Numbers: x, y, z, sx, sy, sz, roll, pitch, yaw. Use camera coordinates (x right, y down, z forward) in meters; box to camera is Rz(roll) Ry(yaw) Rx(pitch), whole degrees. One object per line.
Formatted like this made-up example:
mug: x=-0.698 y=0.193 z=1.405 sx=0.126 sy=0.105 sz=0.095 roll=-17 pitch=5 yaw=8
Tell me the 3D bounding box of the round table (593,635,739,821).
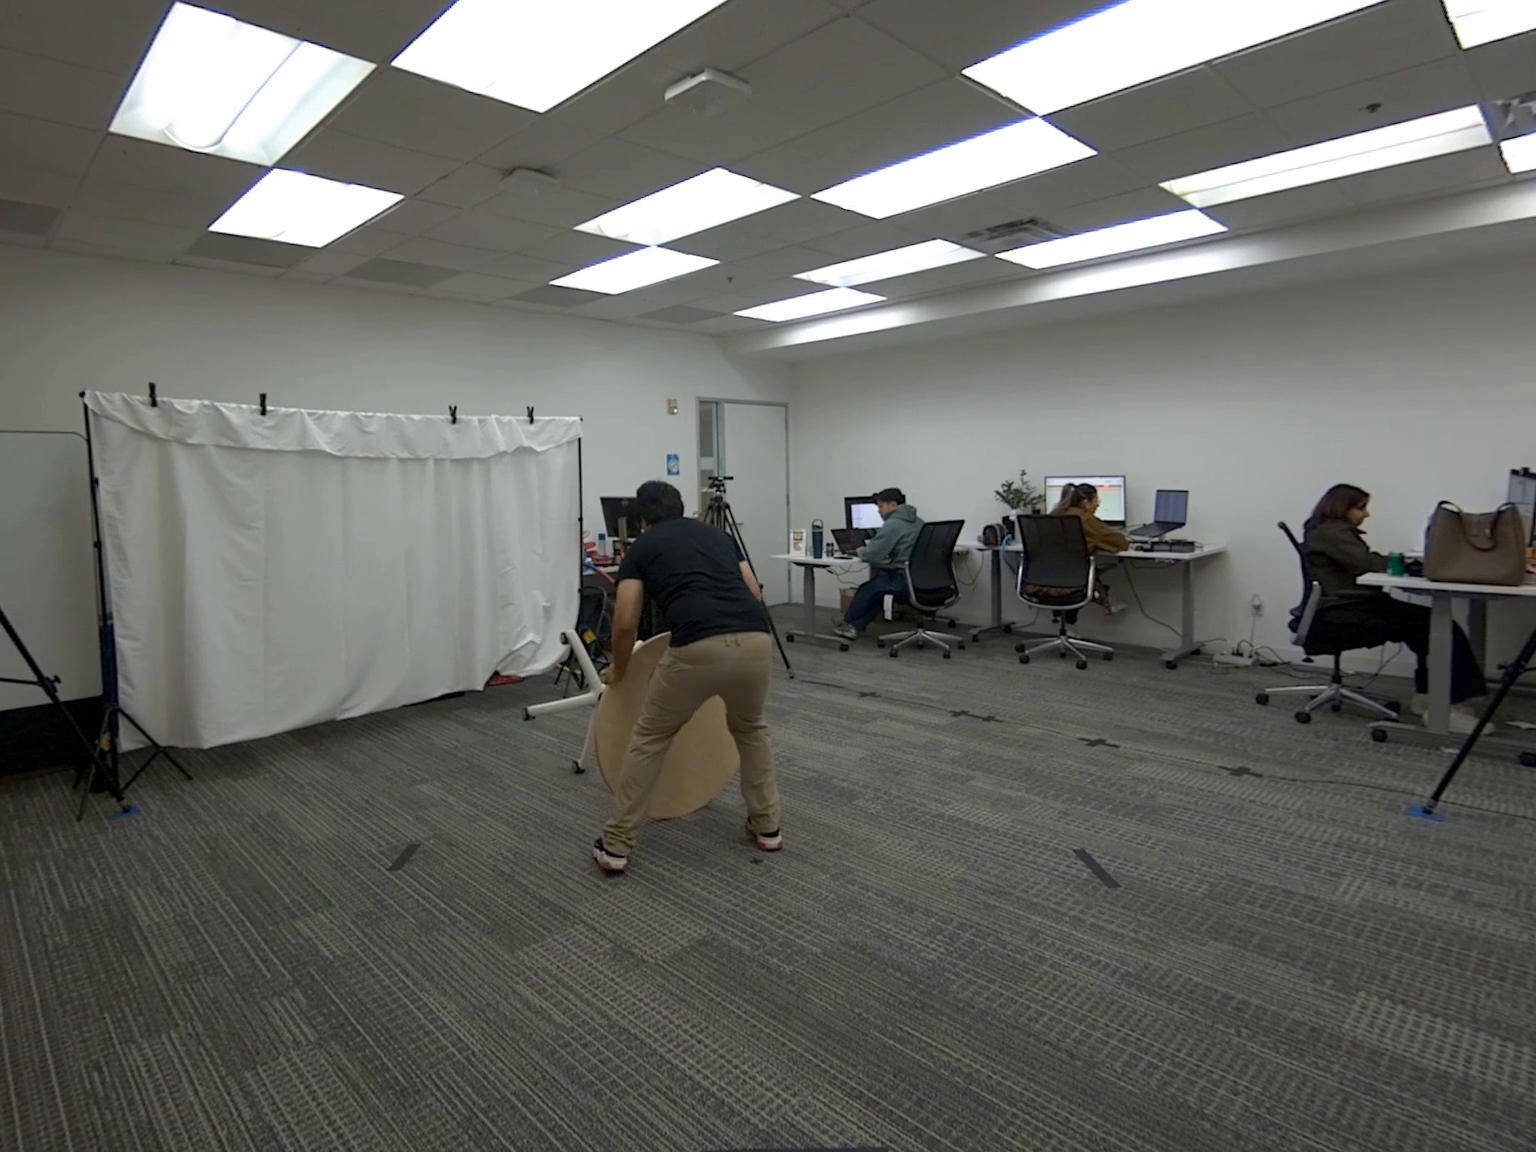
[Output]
round table: x=-0.612 y=0.585 z=3.856 sx=0.765 sy=0.783 sz=0.809 roll=-5 pitch=5 yaw=-38
